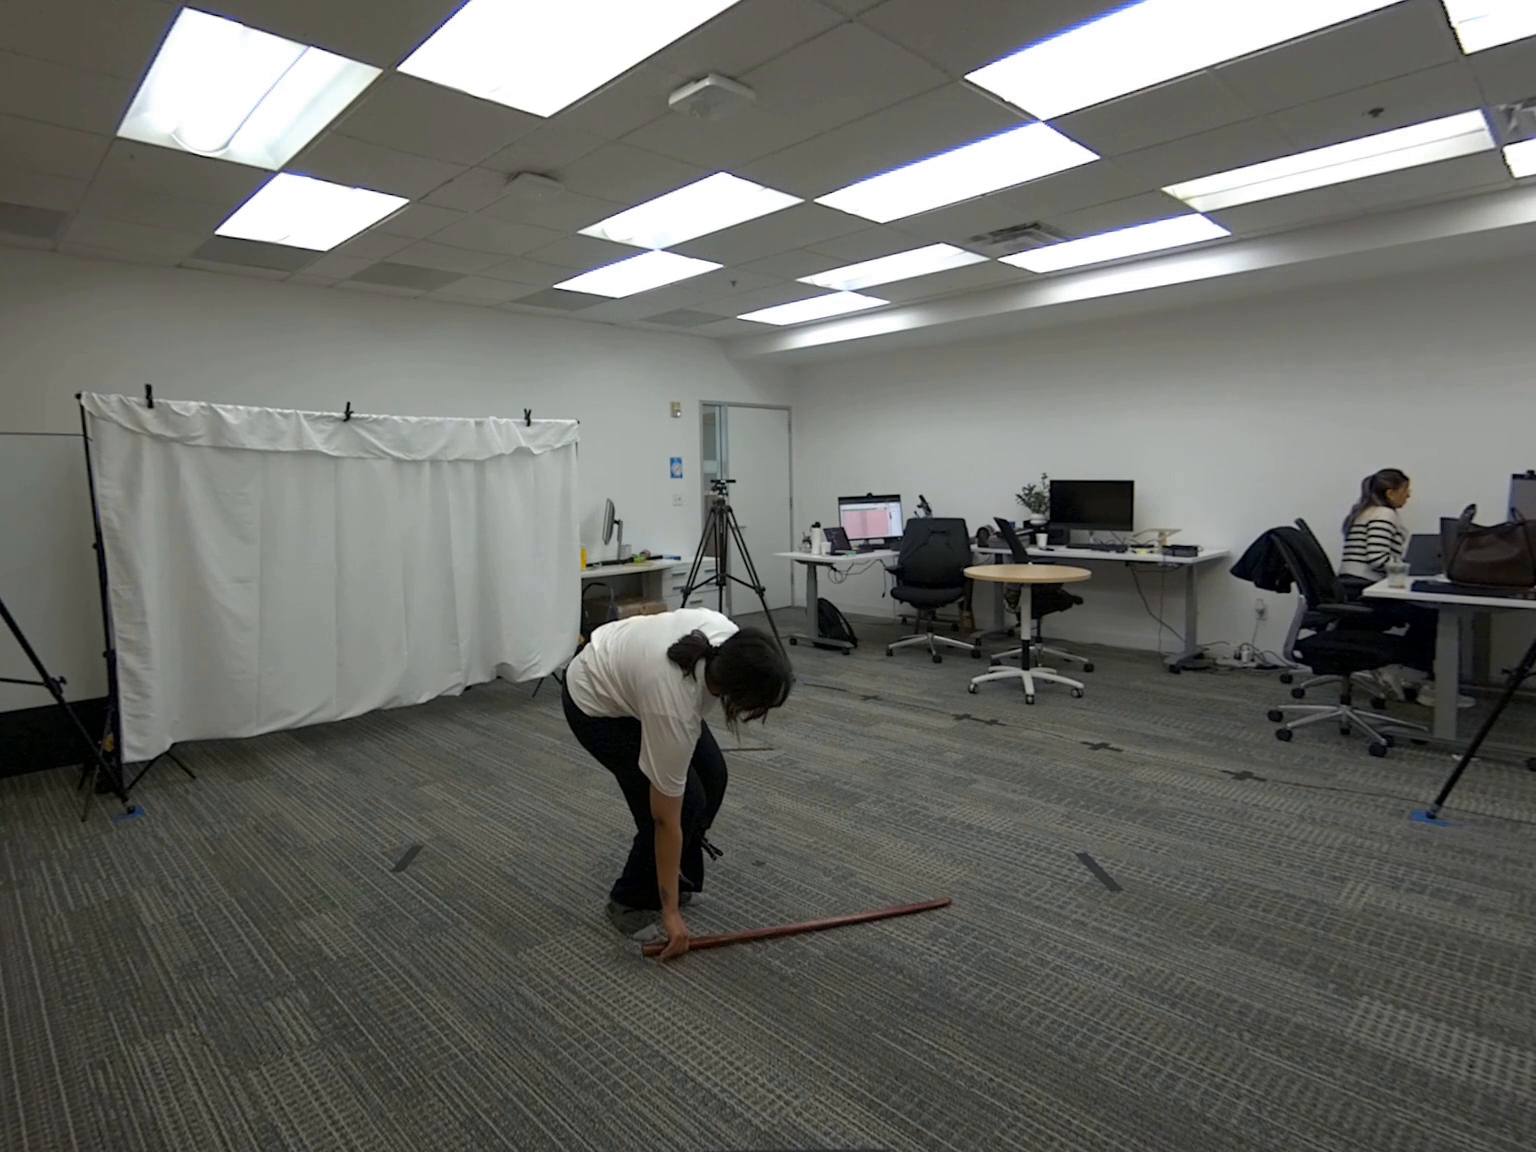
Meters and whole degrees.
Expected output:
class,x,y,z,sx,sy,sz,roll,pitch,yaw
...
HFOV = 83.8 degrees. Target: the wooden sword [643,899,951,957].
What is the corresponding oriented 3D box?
class,x,y,z,sx,sy,sz,roll,pitch,yaw
wooden sword,0.129,1.067,2.642,1.008,0.023,0.053,-1,36,-17
